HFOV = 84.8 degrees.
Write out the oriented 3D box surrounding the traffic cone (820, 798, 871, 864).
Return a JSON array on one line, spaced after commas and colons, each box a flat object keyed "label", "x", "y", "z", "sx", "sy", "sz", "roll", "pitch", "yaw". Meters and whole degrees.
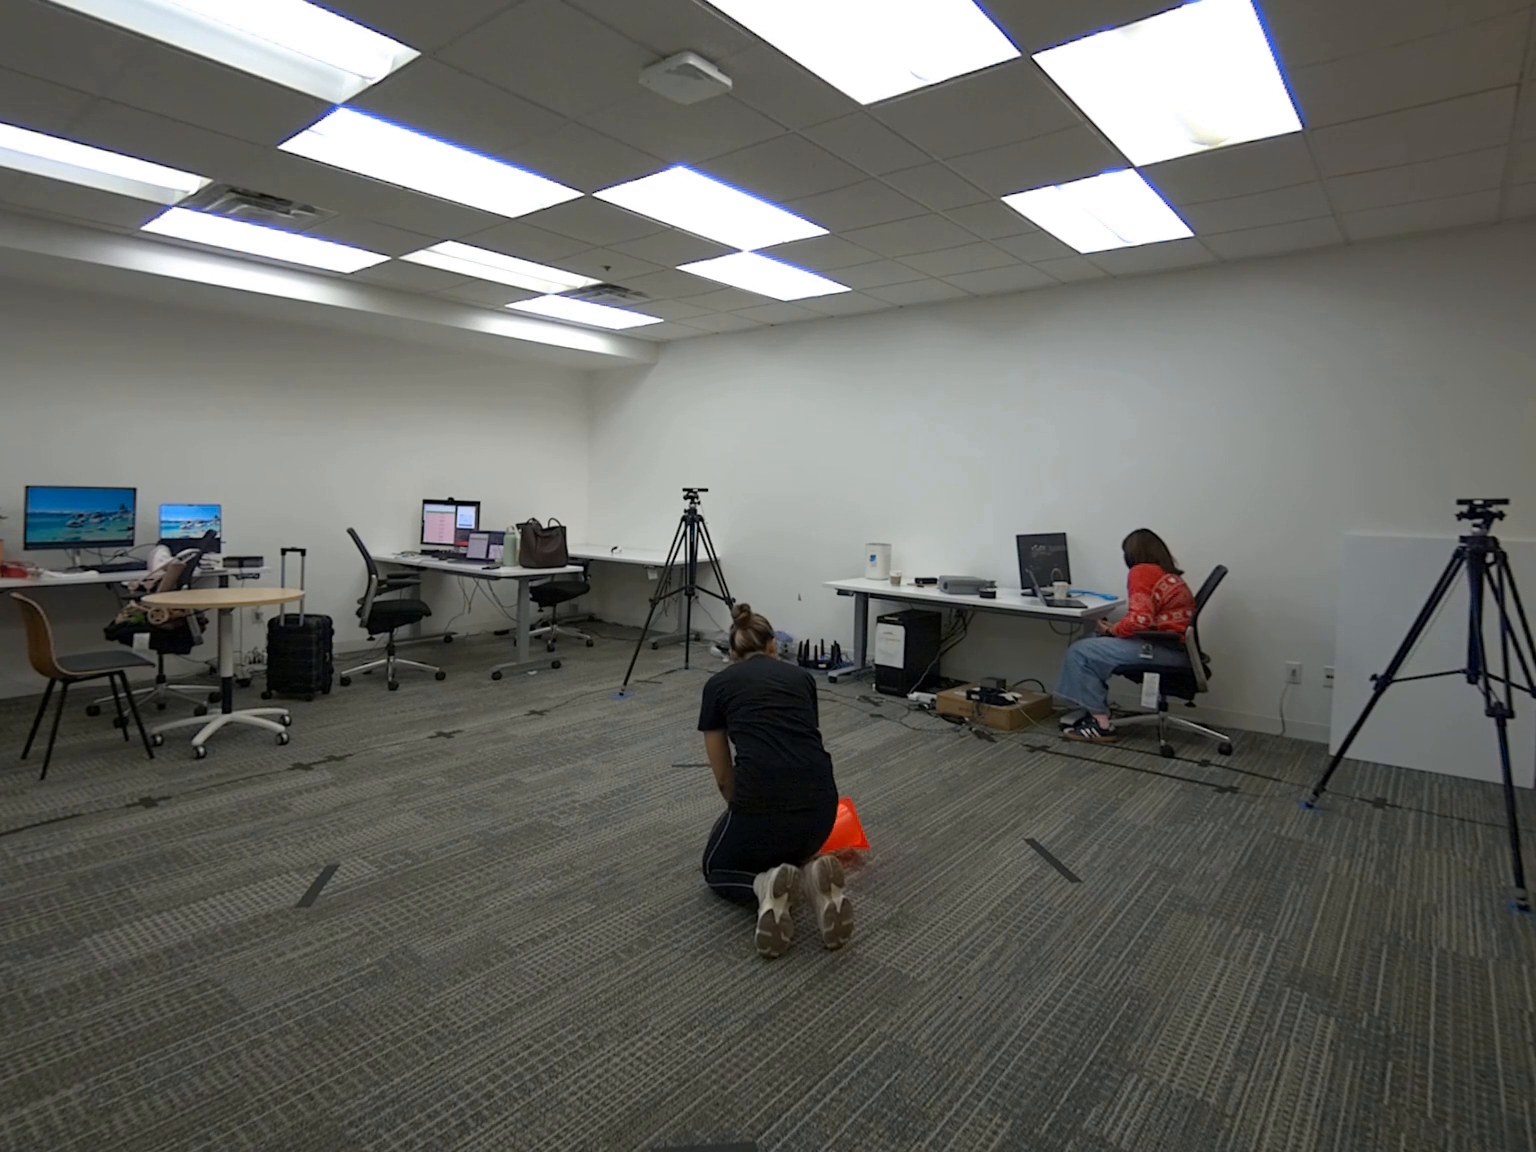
[{"label": "traffic cone", "x": 0.147, "y": 1.011, "z": 3.216, "sx": 0.379, "sy": 0.207, "sz": 0.204, "roll": -19, "pitch": -12, "yaw": -16}]
